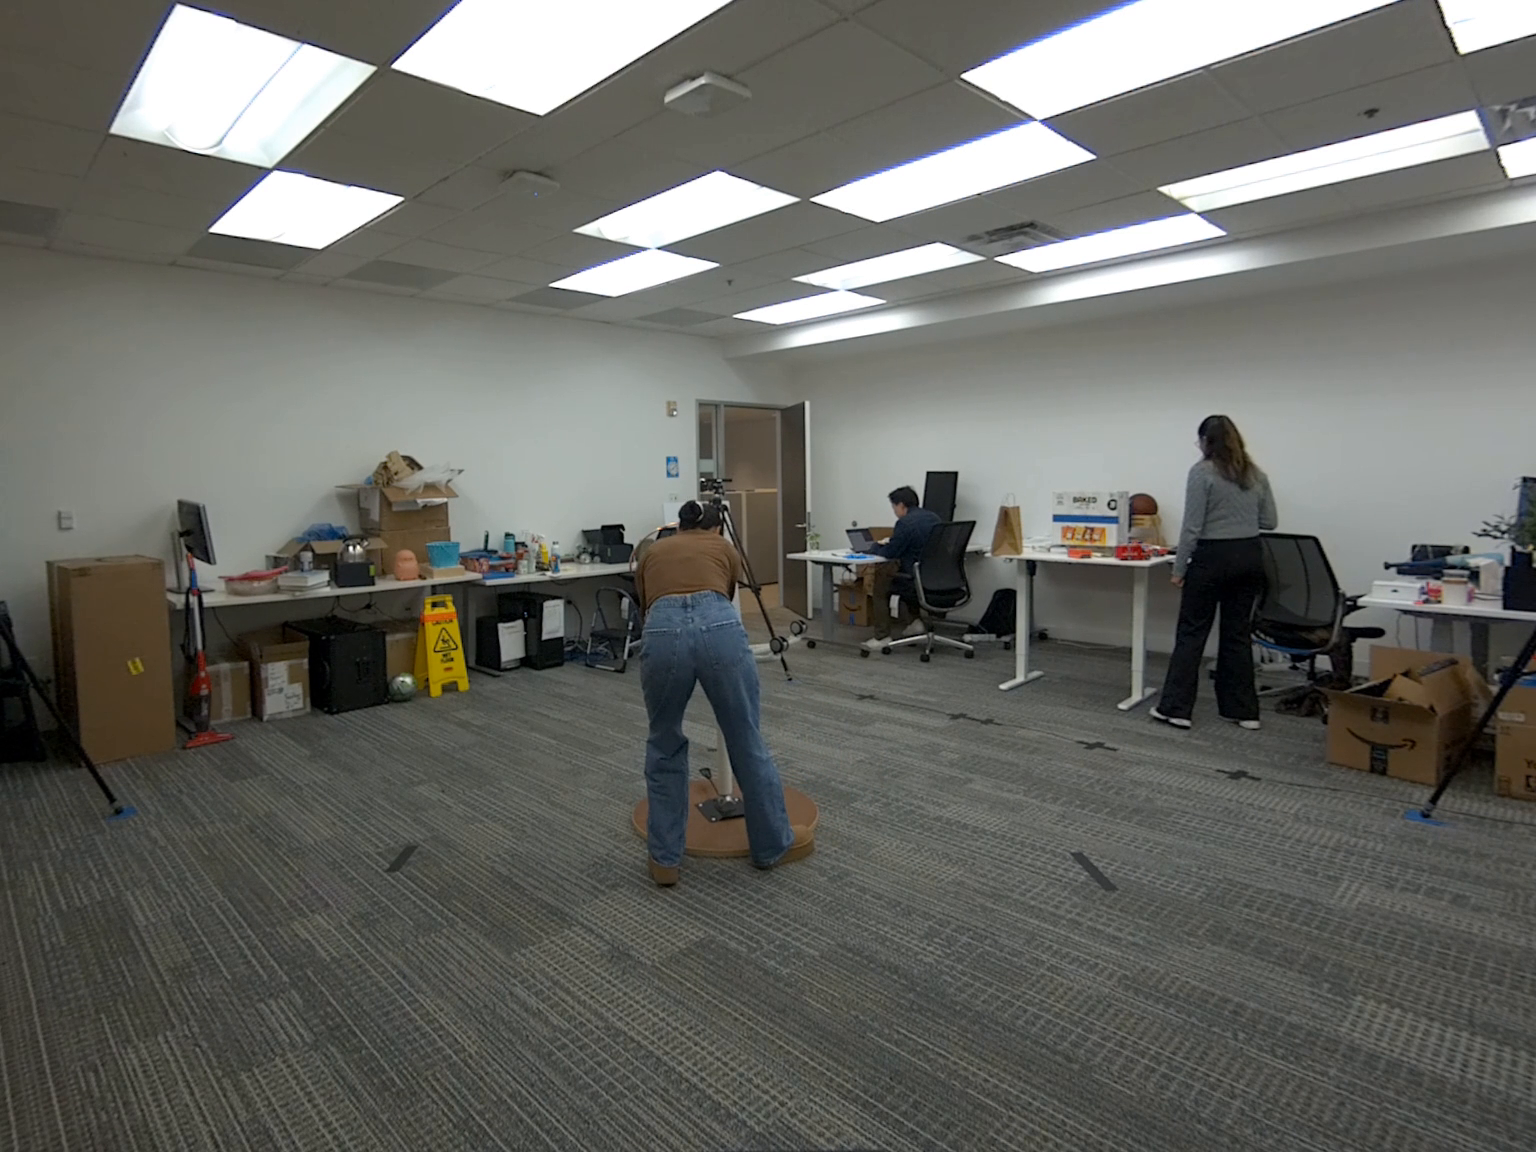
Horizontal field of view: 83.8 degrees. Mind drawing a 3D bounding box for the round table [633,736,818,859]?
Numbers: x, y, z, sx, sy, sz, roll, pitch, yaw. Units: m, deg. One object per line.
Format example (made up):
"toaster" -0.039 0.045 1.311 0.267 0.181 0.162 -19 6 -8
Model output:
"round table" -0.178 0.607 3.530 0.763 0.791 0.767 0 4 -2
